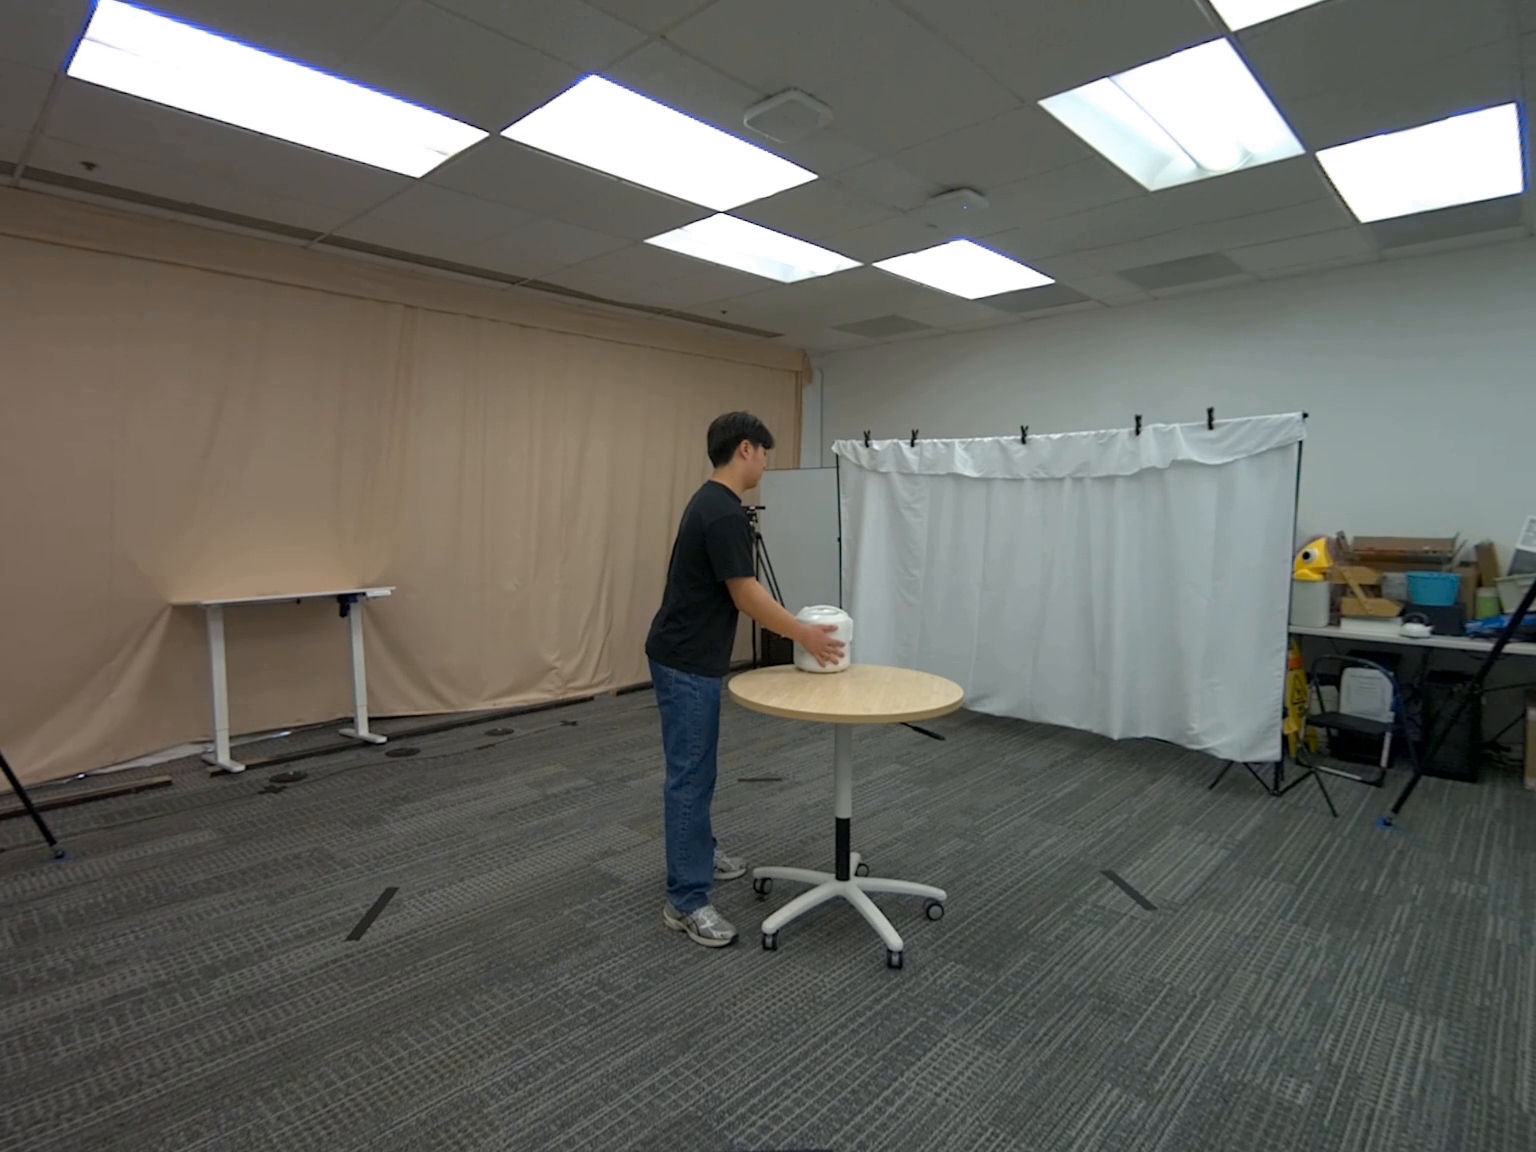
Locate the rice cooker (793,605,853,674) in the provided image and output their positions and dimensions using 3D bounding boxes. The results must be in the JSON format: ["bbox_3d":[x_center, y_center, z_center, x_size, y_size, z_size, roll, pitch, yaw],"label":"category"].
[{"bbox_3d":[0.207,0.224,3.054,0.221,0.232,0.218,0,4,0],"label":"rice cooker"}]
